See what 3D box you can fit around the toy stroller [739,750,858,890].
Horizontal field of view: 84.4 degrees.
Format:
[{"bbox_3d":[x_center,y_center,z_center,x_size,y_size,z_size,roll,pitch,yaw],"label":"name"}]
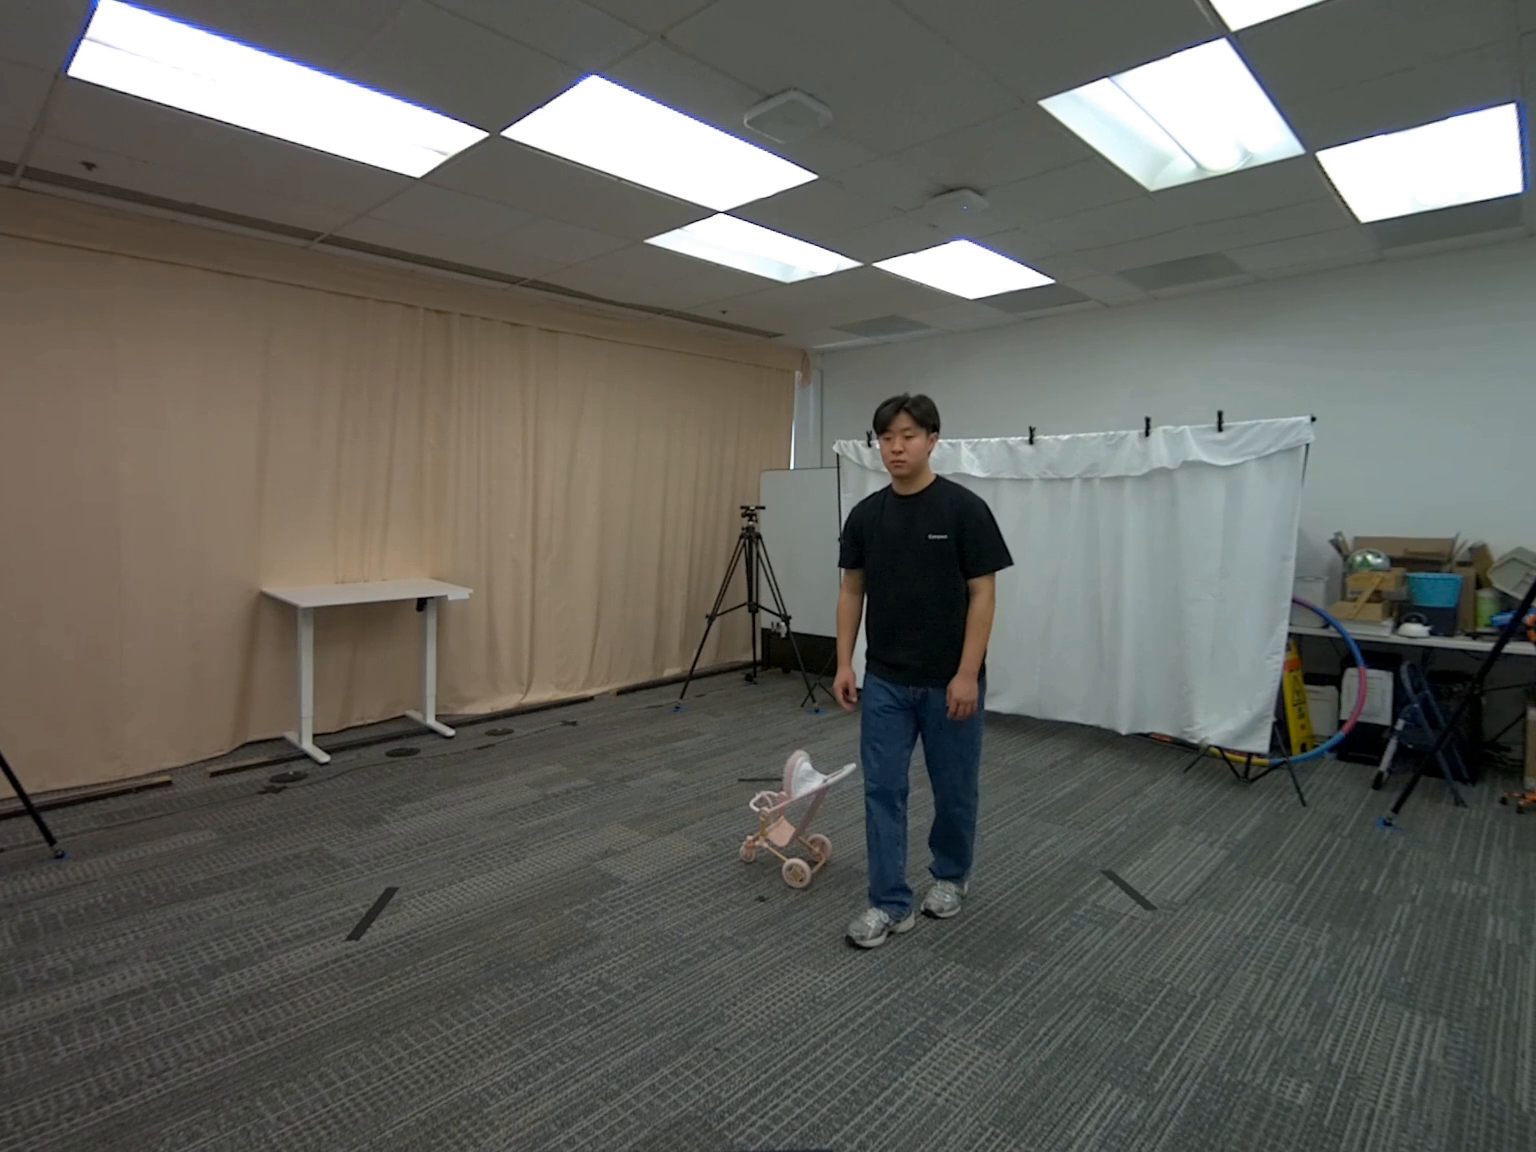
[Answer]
[{"bbox_3d":[0.096,0.901,3.197,0.352,0.533,0.274,20,12,28],"label":"toy stroller"}]
